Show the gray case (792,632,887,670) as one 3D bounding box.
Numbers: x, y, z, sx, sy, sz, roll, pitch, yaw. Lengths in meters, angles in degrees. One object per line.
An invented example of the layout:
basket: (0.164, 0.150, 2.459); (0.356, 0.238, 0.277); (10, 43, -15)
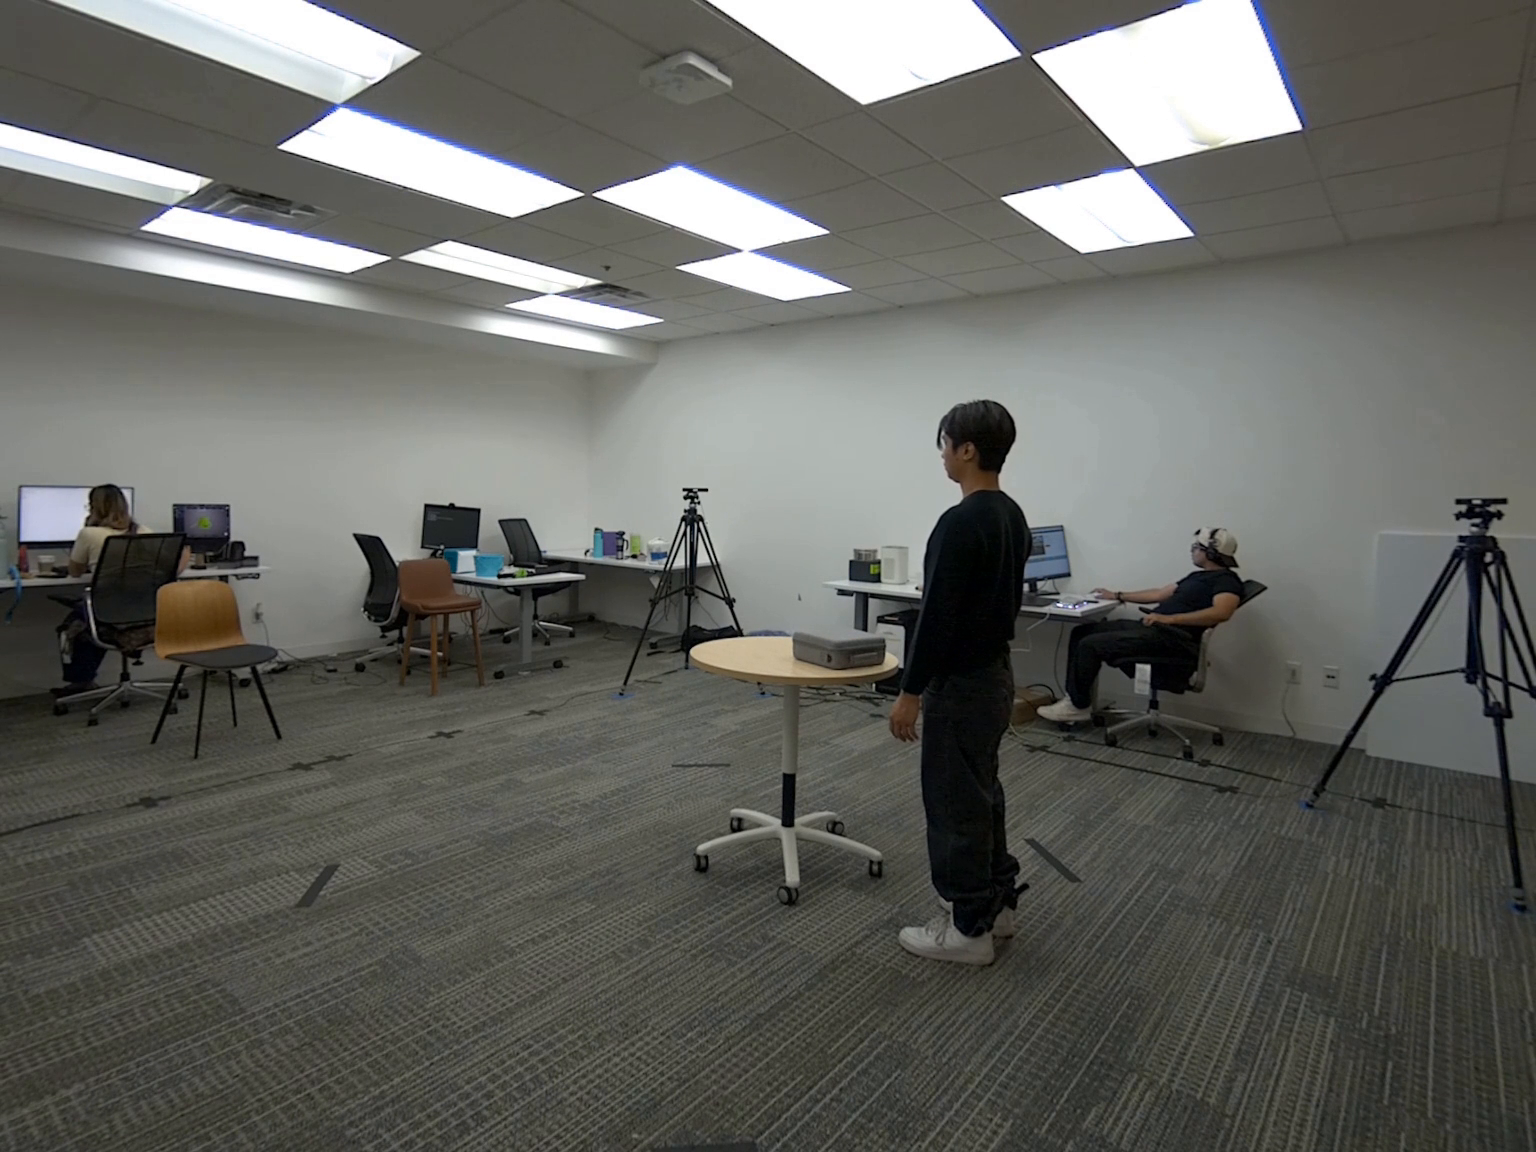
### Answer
gray case: (0.246, 0.249, 3.048); (0.249, 0.104, 0.269); (0, 6, -37)
